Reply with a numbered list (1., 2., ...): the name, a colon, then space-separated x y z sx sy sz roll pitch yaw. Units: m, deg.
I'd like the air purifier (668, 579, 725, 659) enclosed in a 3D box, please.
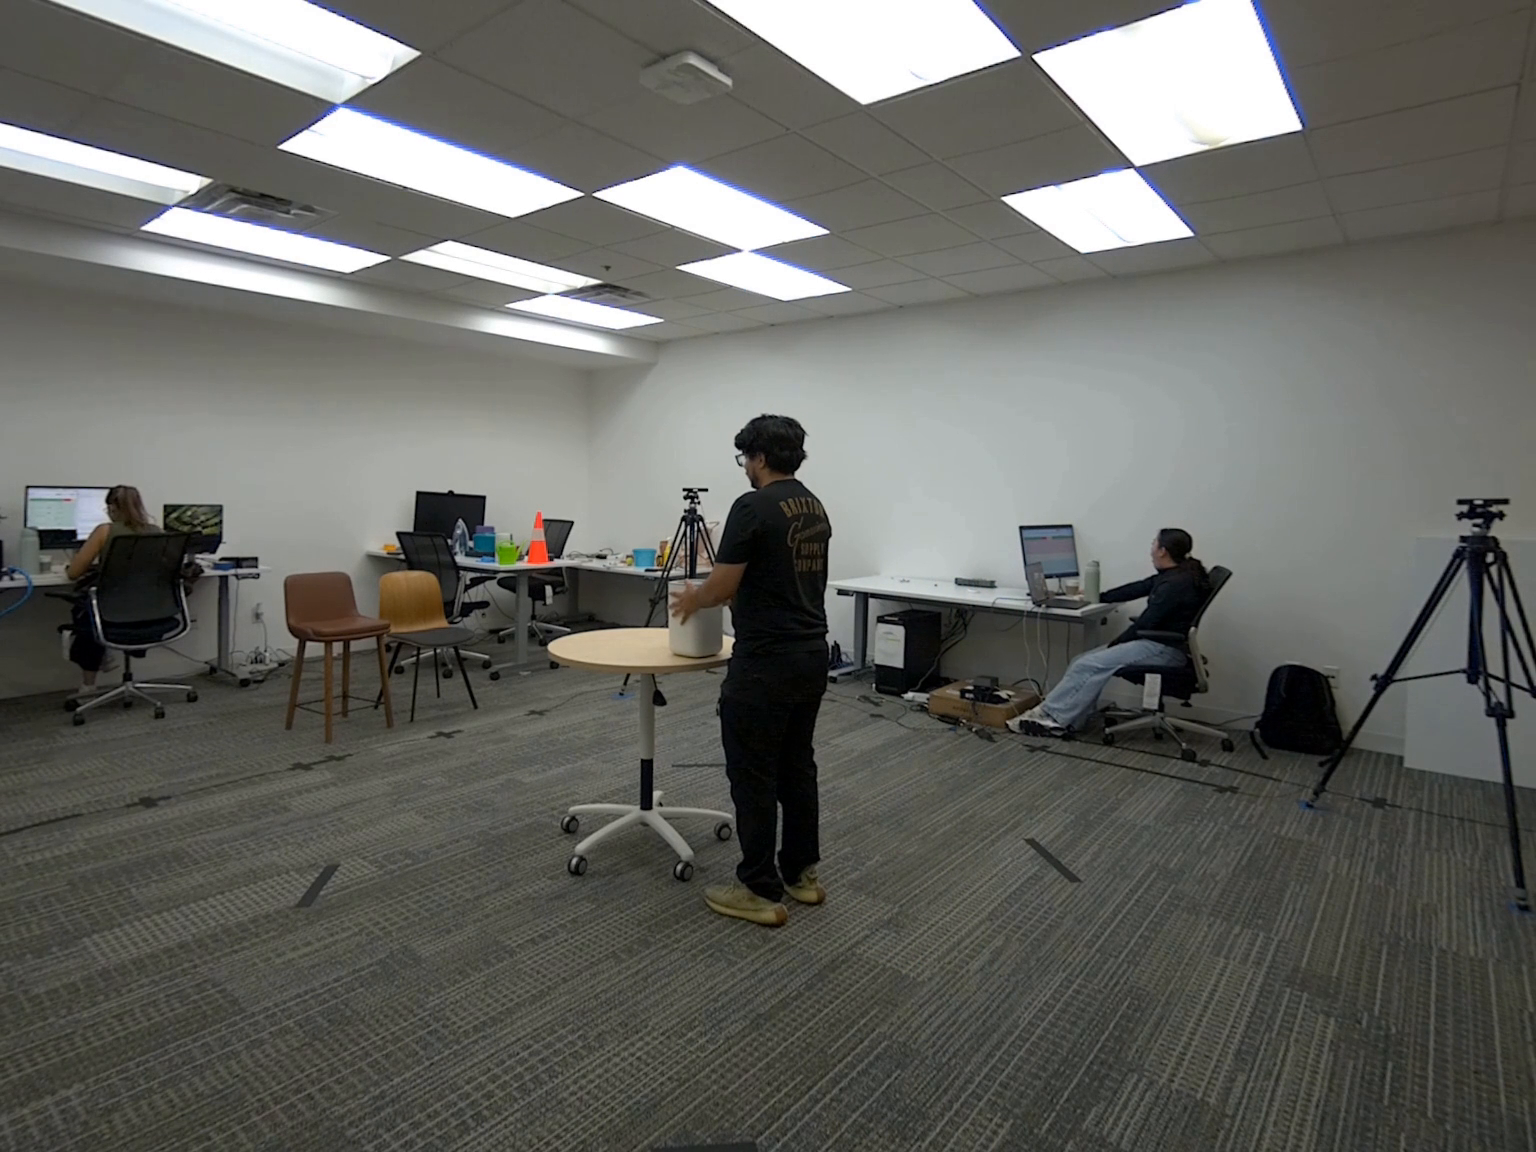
1. air purifier: -0.272 0.149 3.117 0.176 0.265 0.166 3 4 37
